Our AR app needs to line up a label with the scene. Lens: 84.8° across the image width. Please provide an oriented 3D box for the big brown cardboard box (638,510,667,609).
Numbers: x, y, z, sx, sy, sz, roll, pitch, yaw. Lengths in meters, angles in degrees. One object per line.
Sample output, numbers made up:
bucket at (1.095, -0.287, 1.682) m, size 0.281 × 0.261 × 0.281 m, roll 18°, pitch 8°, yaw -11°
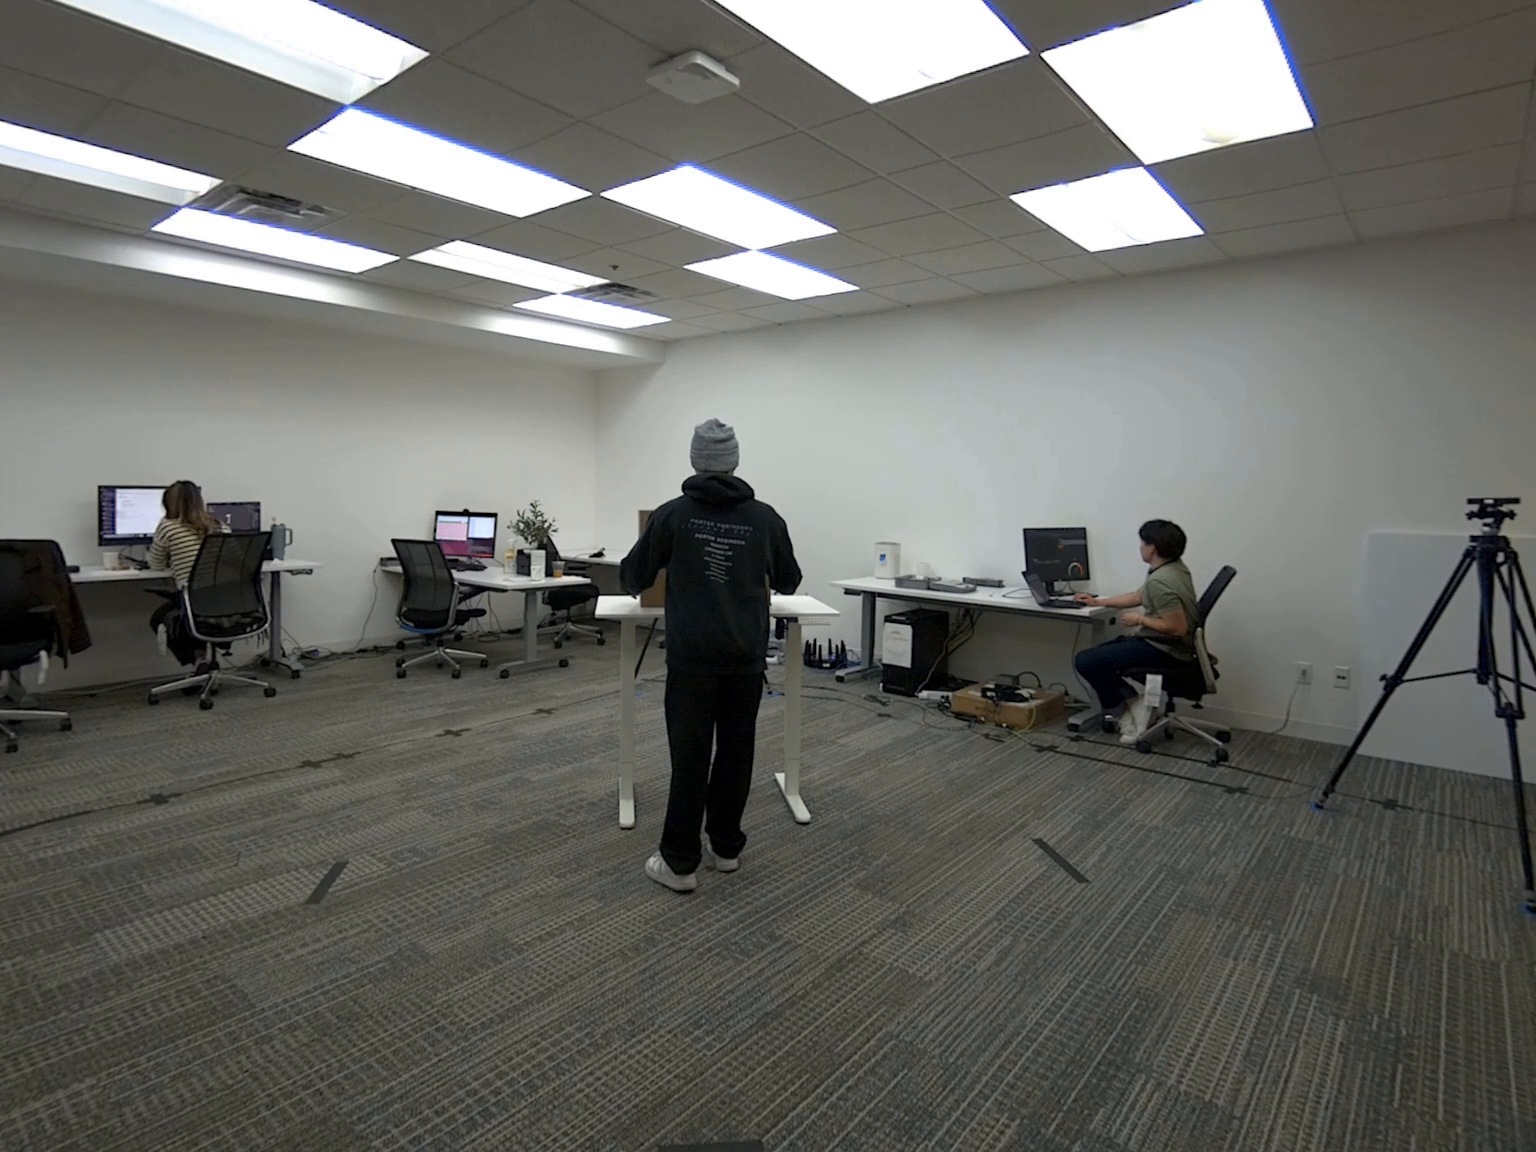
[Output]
big brown cardboard box at (-0.285, -0.087, 3.727) m, size 0.584 × 0.416 × 0.236 m, roll 0°, pitch 3°, yaw -8°
